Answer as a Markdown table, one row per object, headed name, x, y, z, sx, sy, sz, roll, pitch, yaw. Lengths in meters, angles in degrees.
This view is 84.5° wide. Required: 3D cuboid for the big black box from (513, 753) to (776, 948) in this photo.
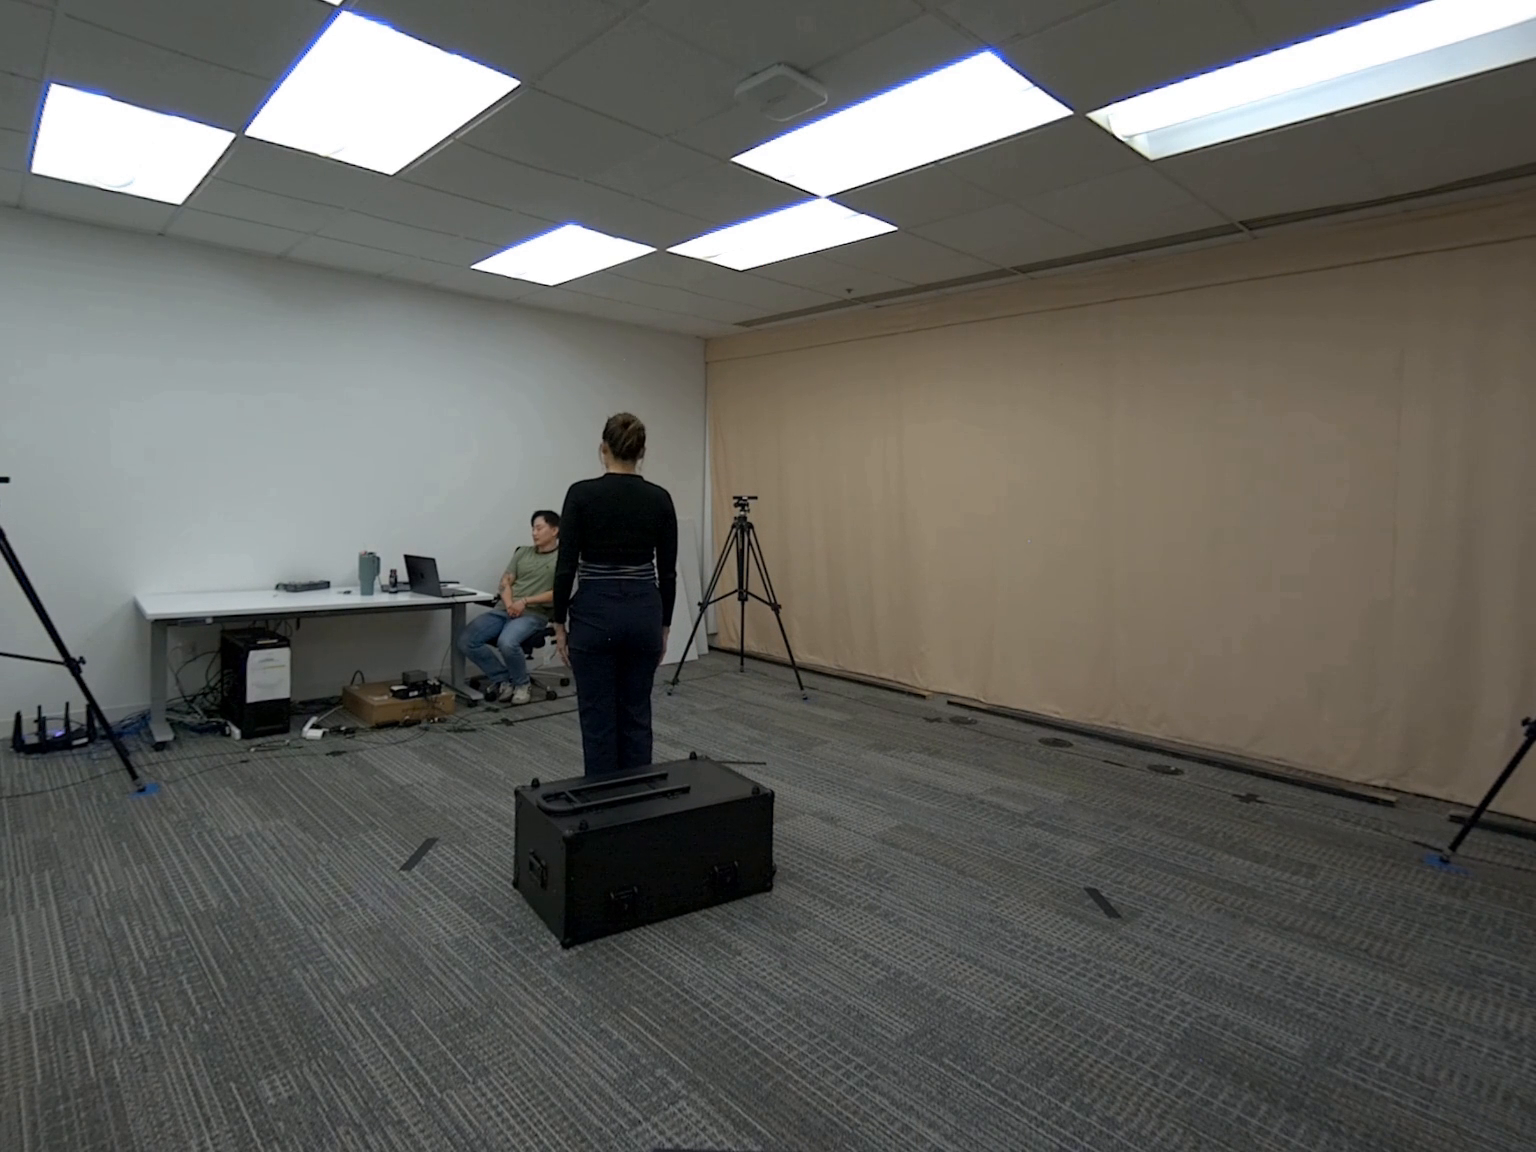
| name | x | y | z | sx | sy | sz | roll | pitch | yaw |
| --- | --- | --- | --- | --- | --- | --- | --- | --- | --- |
| big black box | -0.464 | 0.933 | 2.951 | 0.843 | 0.395 | 0.534 | -2 | 5 | -34 |
